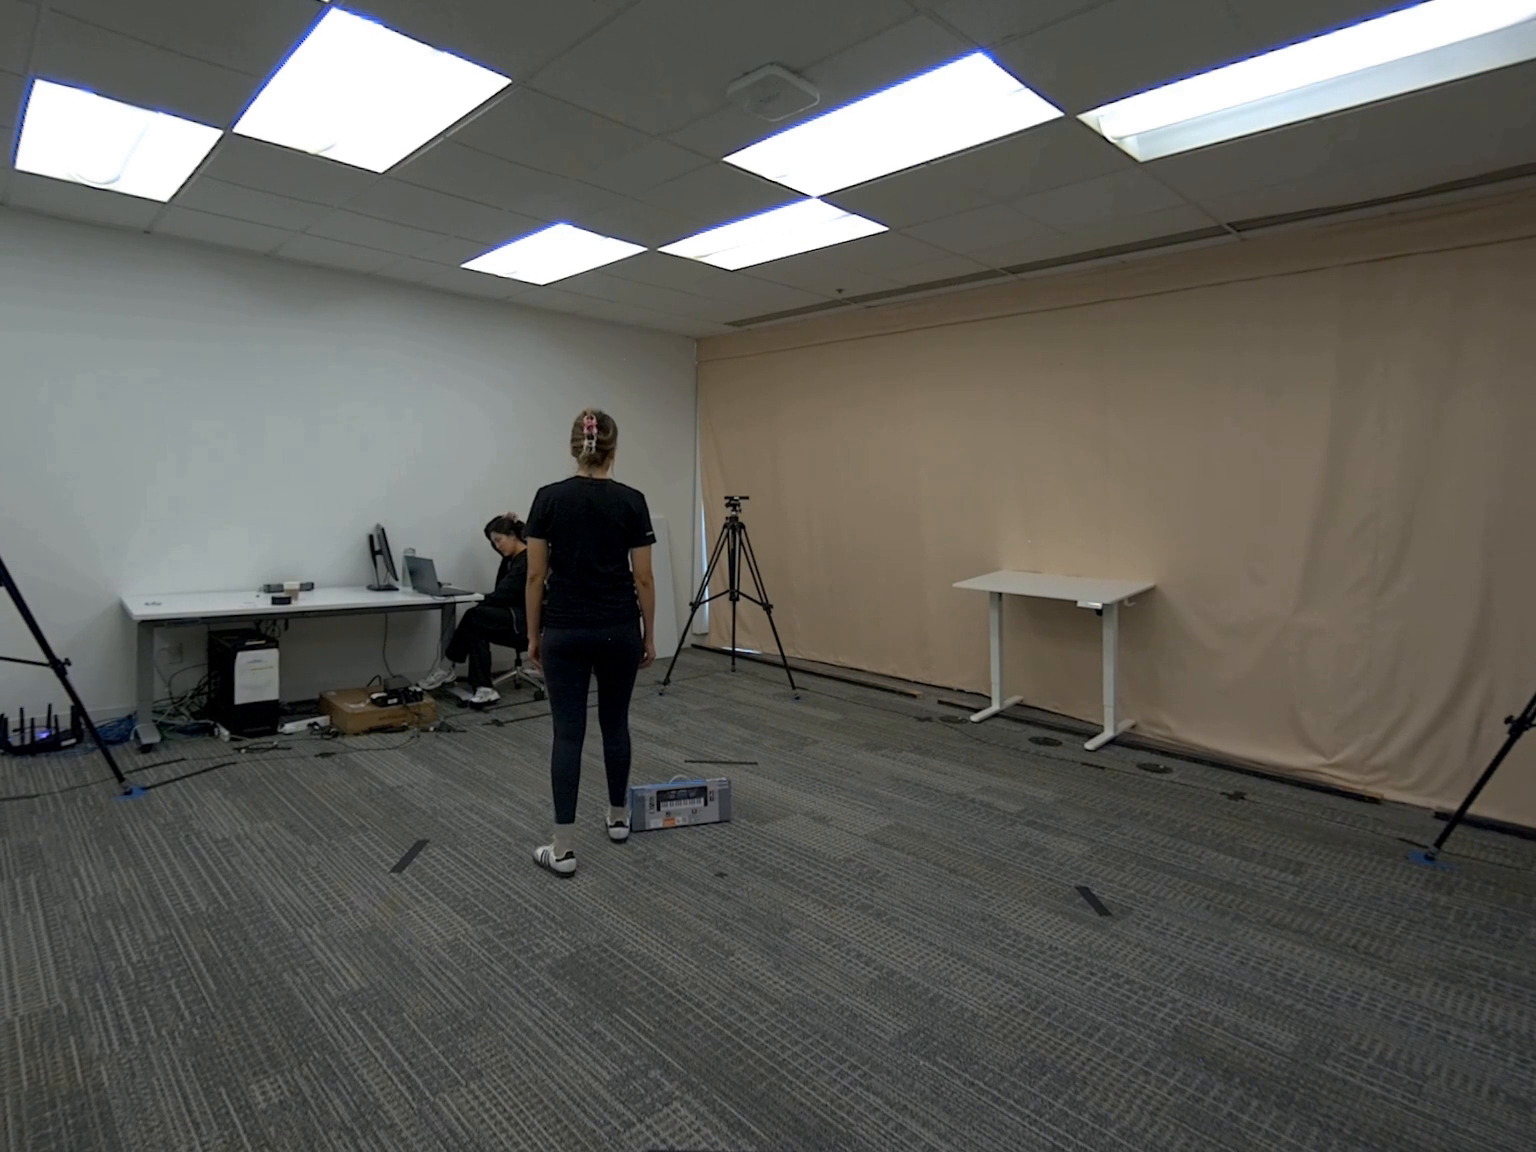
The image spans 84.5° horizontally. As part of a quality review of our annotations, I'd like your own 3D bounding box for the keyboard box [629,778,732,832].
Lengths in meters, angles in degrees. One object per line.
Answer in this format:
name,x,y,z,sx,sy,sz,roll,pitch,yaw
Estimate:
keyboard box,-0.380,0.970,3.577,0.430,0.176,0.060,-1,-5,-21
